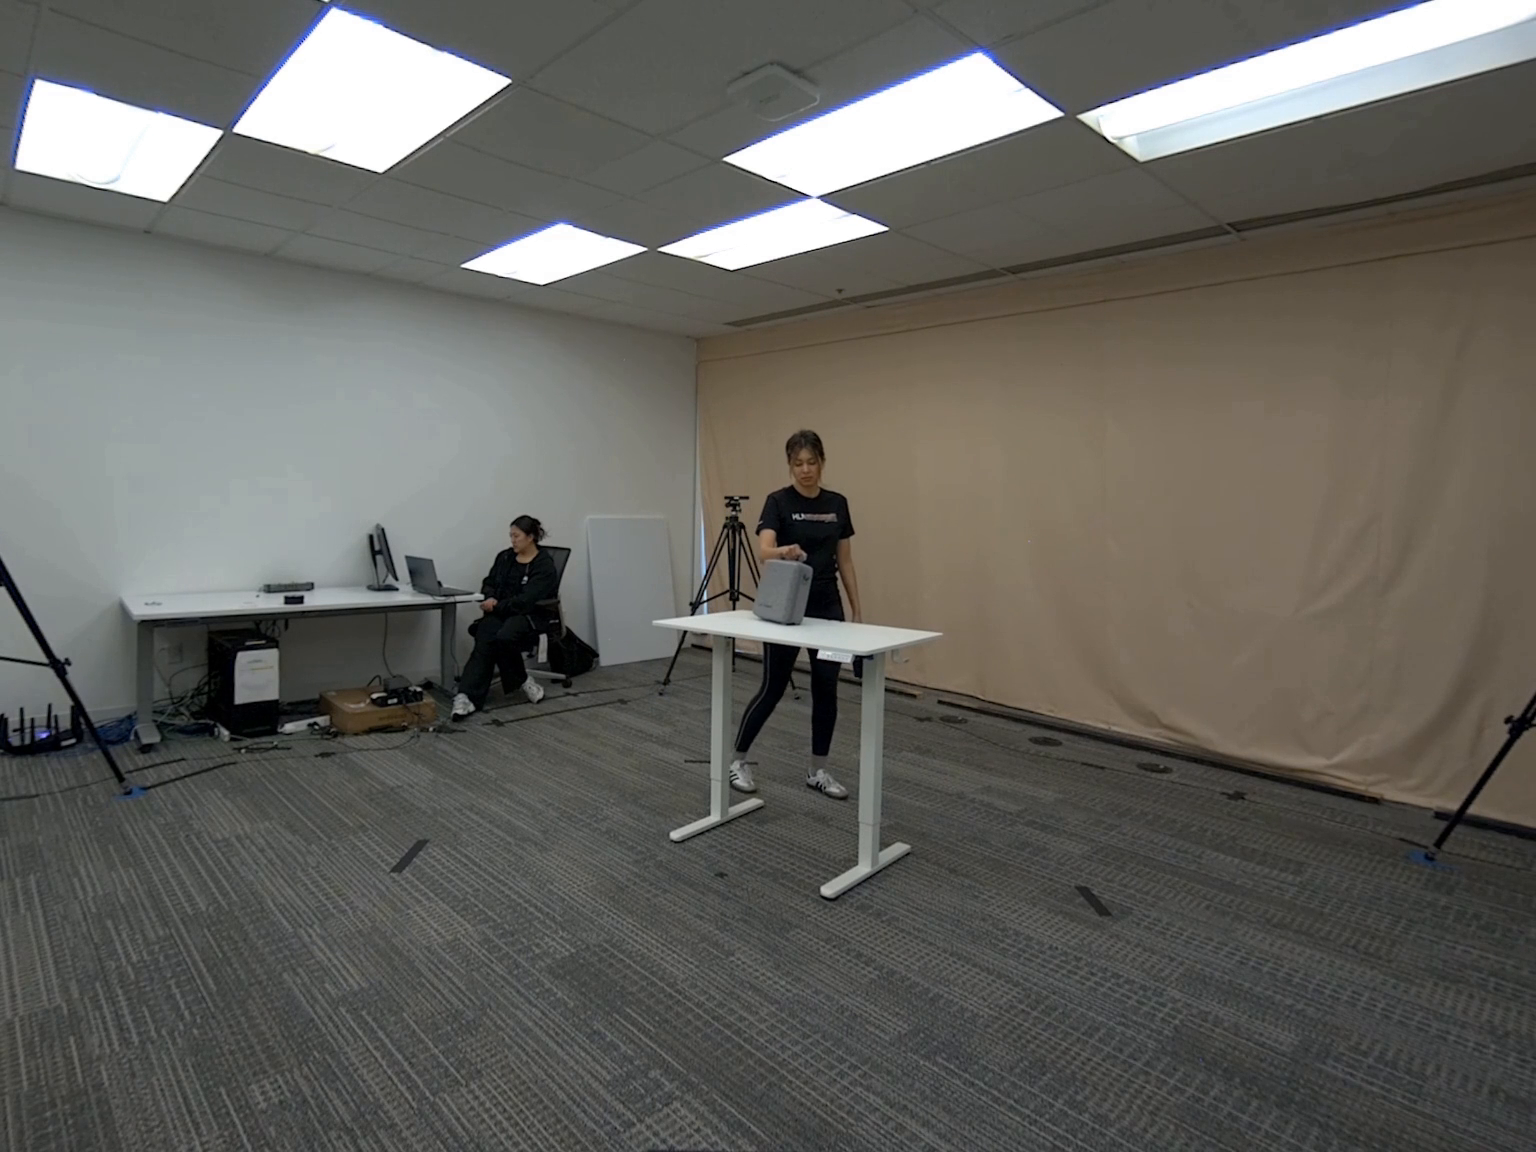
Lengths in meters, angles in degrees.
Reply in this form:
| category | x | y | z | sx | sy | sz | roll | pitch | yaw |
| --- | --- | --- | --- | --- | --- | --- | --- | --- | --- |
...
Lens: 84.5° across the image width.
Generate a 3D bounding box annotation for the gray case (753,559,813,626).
| category | x | y | z | sx | sy | sz | roll | pitch | yaw |
| --- | --- | --- | --- | --- | --- | --- | --- | --- | --- |
| gray case | 0.044 | 0.060 | 3.507 | 0.102 | 0.261 | 0.263 | 14 | -4 | -31 |
